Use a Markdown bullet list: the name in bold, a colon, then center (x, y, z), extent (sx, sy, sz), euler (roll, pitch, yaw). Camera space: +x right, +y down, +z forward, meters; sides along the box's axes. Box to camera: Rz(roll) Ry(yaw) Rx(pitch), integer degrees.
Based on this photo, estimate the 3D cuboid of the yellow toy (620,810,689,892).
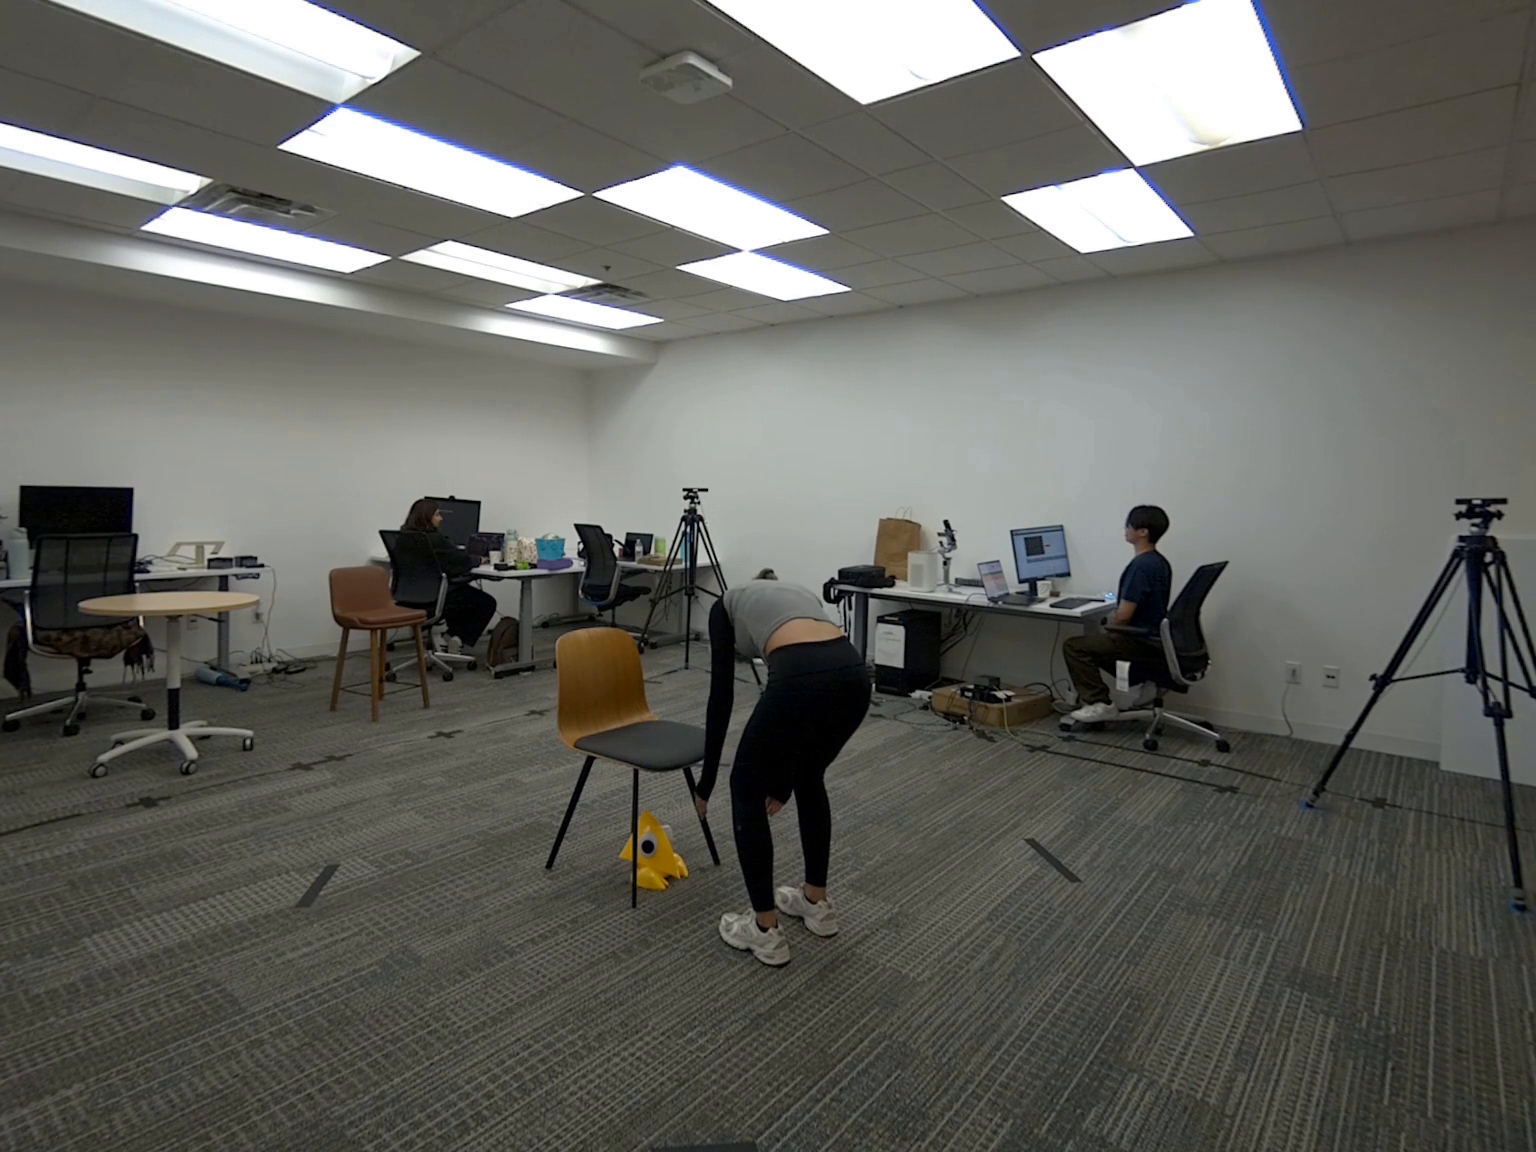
- **yellow toy**: center (-0.404, 0.962, 3.047), extent (0.199, 0.230, 0.199), euler (3, 3, 36)
